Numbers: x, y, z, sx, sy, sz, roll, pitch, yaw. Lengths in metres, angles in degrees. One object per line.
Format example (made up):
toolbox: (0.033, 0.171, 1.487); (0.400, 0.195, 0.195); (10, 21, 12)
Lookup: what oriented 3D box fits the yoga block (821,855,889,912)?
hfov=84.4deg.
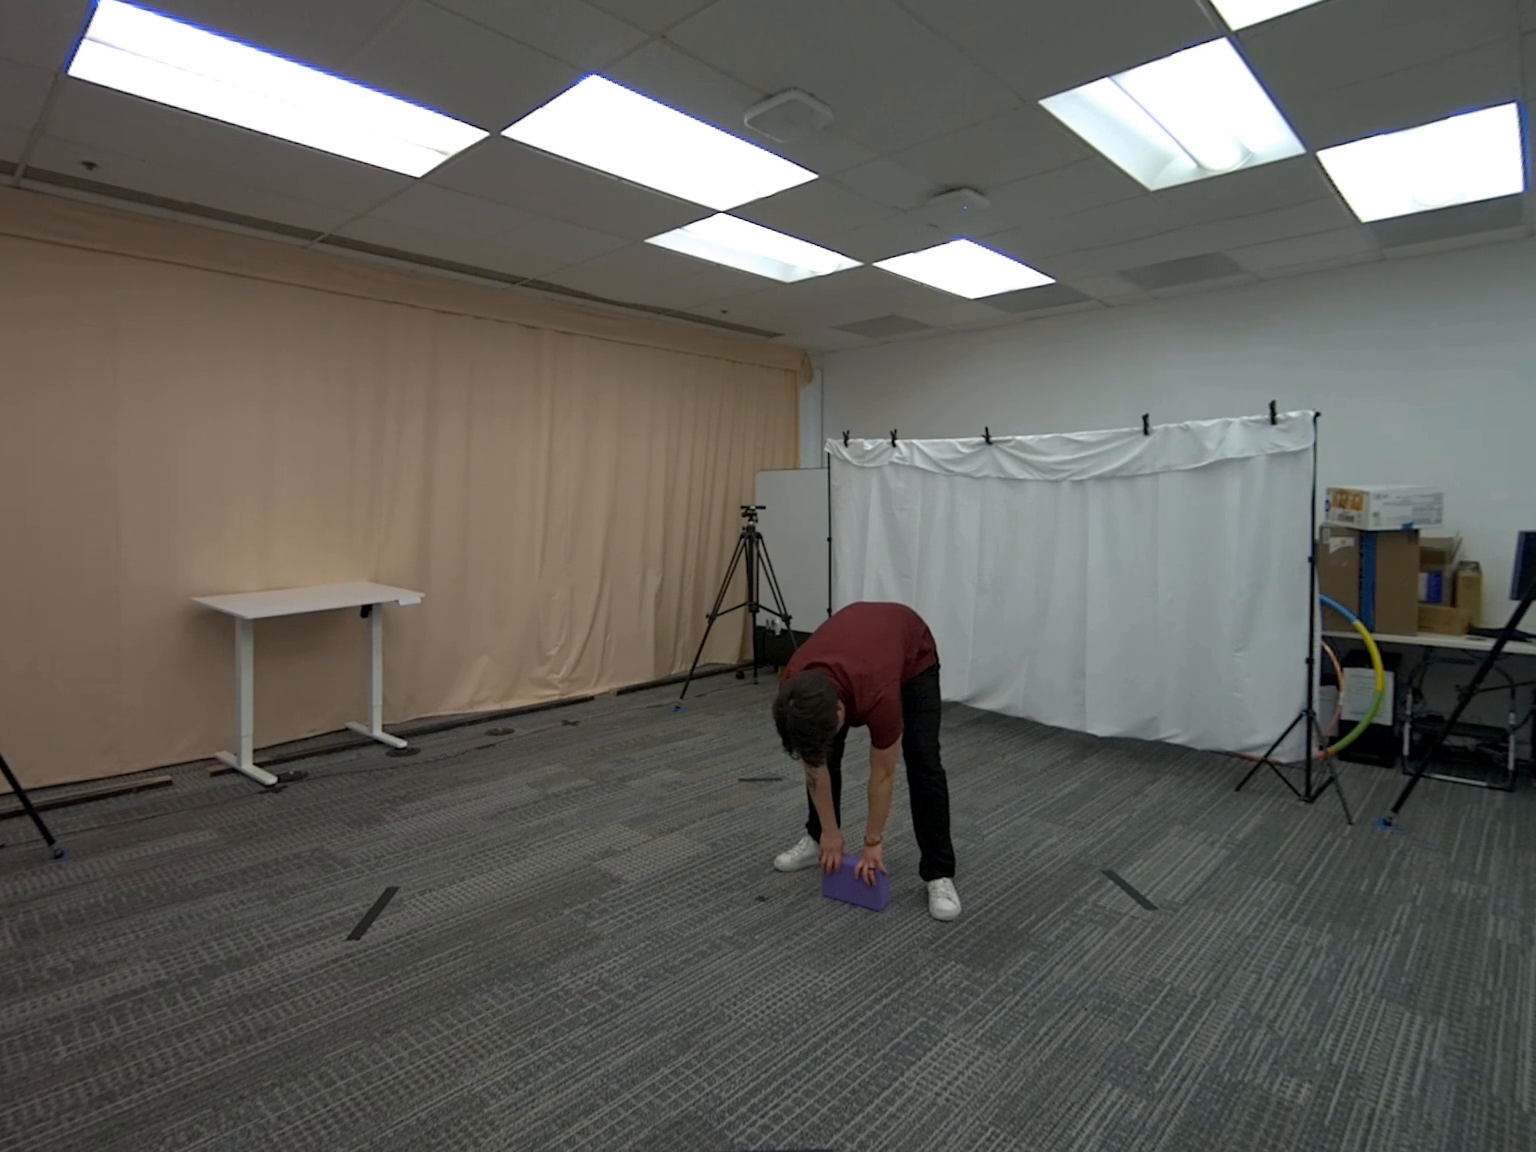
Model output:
yoga block: (0.316, 1.073, 2.970); (0.236, 0.149, 0.074); (2, 0, 33)
